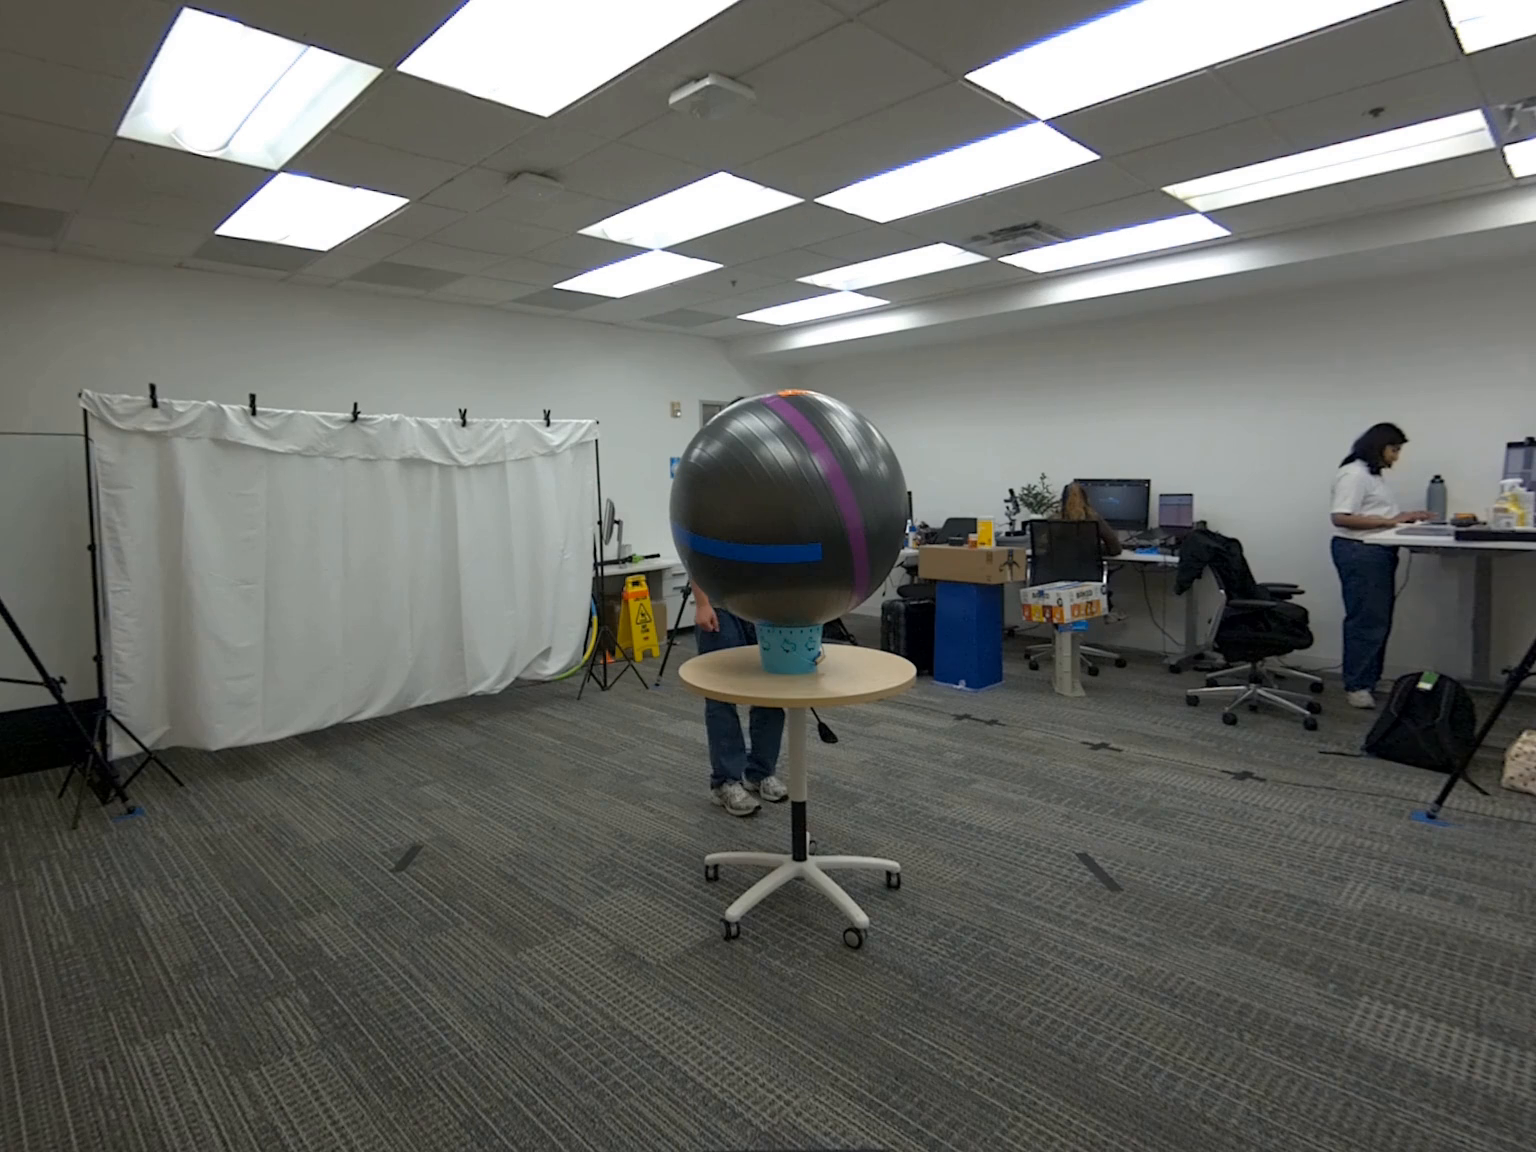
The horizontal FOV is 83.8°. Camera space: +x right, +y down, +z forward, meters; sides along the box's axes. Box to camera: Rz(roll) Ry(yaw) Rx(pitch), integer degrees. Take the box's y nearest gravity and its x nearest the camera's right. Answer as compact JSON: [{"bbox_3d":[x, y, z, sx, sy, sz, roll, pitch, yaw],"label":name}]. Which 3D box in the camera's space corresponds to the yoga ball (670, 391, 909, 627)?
[{"bbox_3d":[0.066,-0.210,2.738,0.757,0.755,0.762,-1,5,-2],"label":"yoga ball"}]
